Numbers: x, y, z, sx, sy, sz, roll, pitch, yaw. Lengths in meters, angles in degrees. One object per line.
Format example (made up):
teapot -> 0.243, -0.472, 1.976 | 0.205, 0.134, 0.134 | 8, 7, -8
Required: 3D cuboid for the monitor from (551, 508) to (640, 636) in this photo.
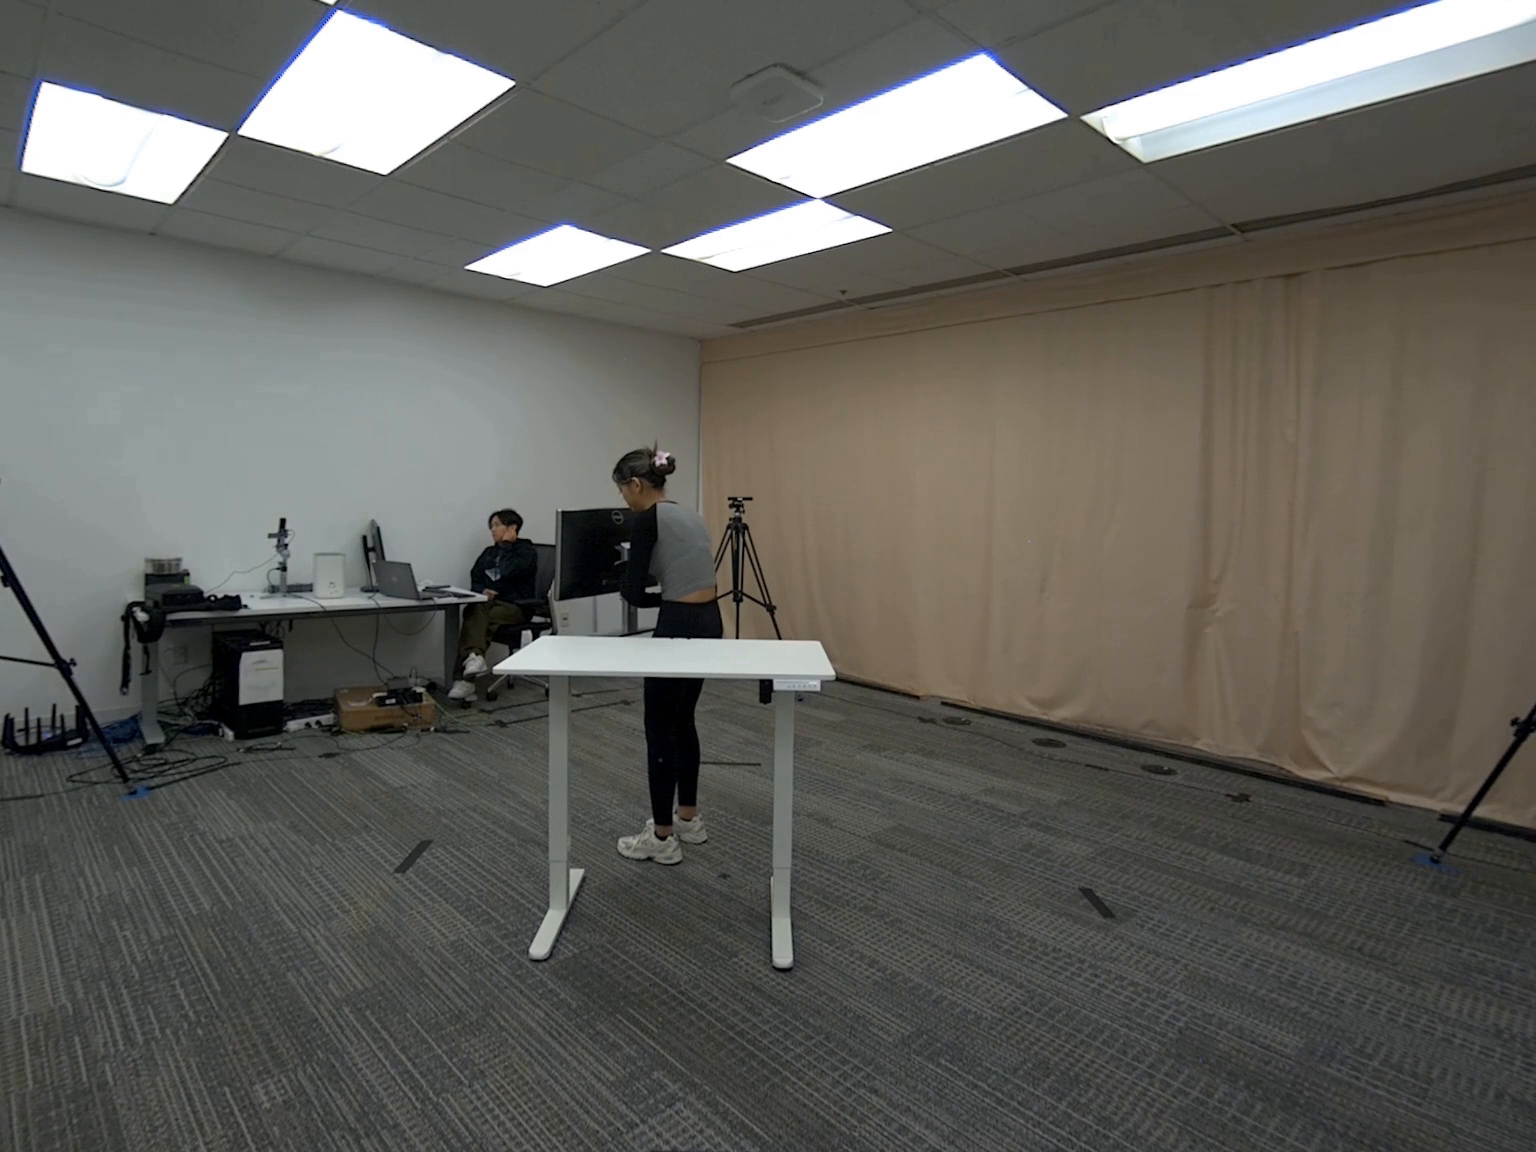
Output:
monitor -> -0.617, -0.018, 3.464 | 0.191, 0.522, 0.528 | -5, 2, 40
